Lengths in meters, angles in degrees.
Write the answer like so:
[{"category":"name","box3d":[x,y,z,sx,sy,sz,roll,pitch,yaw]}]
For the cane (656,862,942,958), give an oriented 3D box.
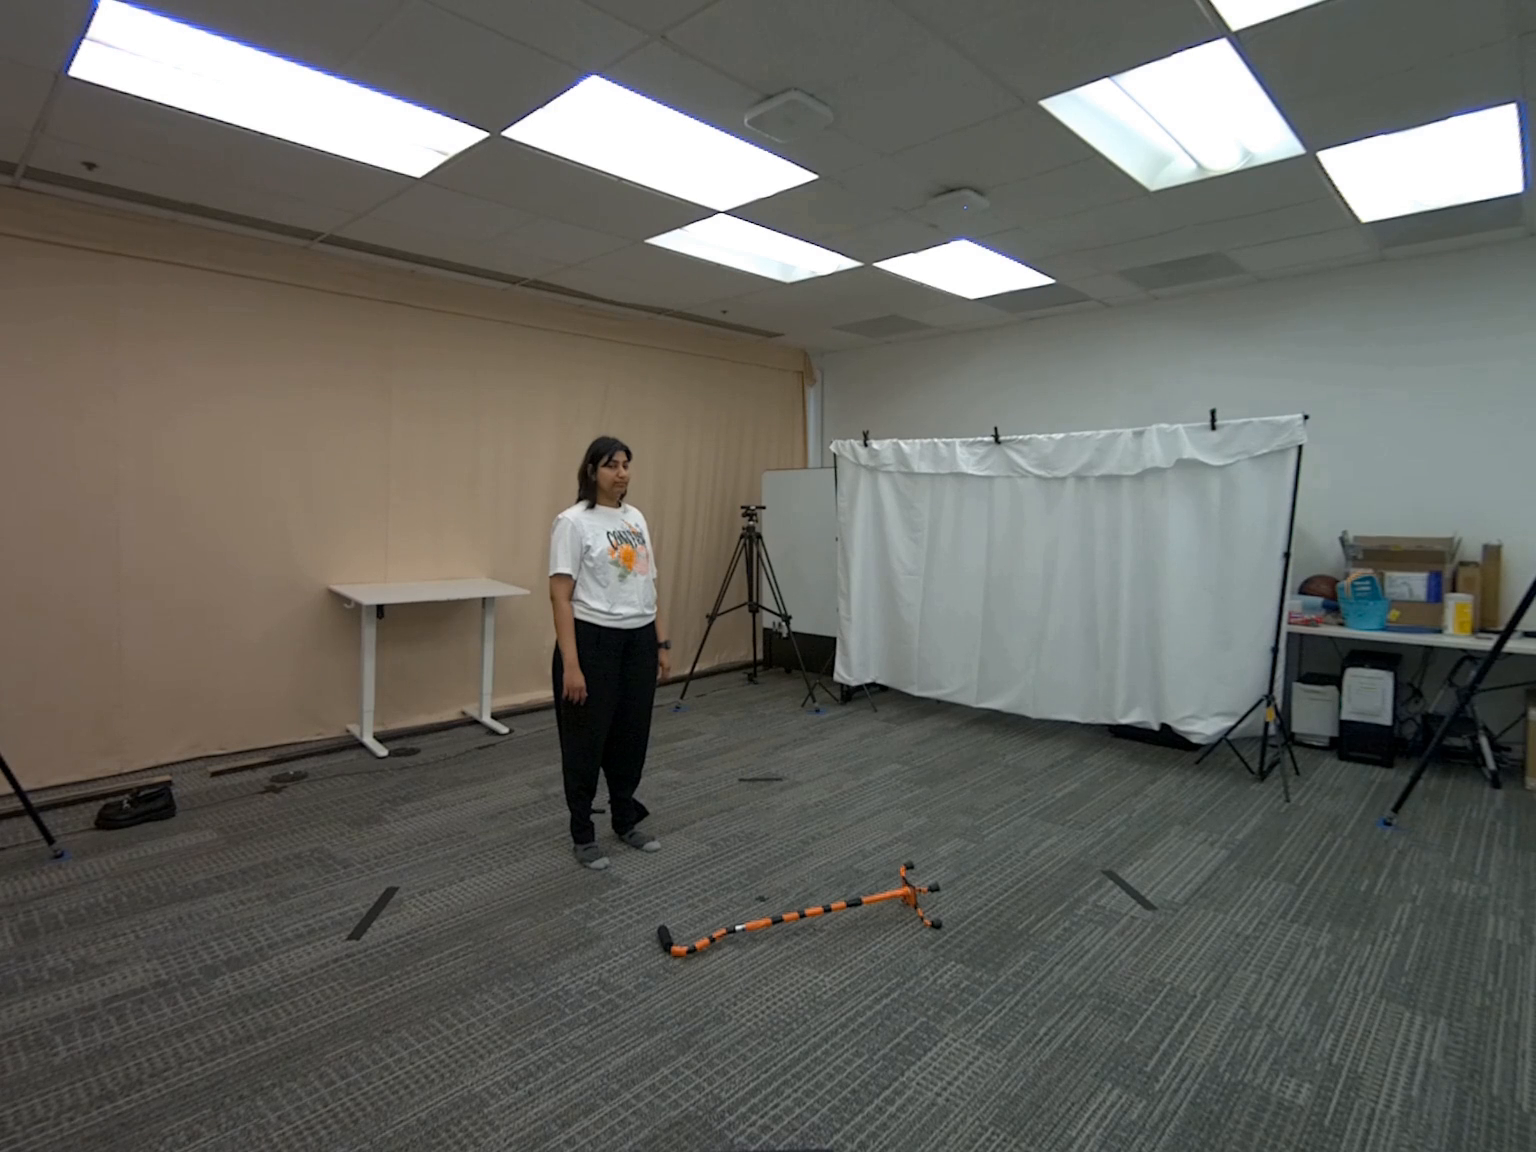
[{"category":"cane","box3d":[0.108,1.117,2.747,0.896,0.151,0.210,-6,7,-14]}]
